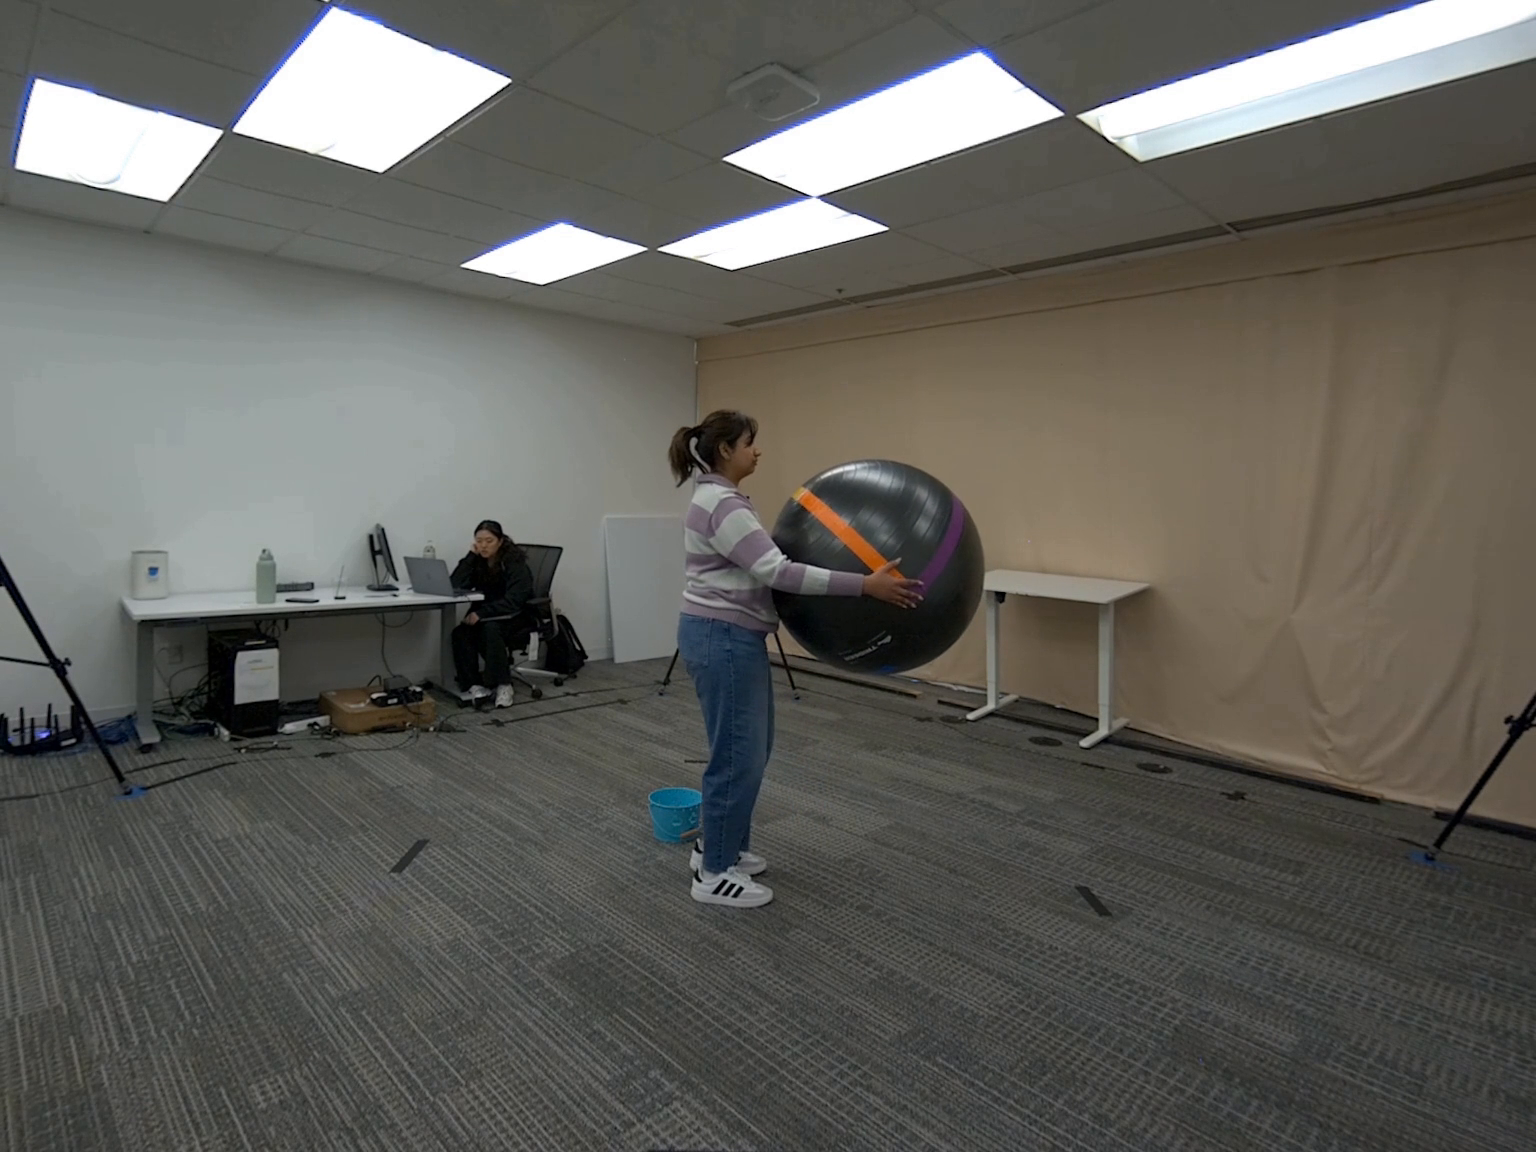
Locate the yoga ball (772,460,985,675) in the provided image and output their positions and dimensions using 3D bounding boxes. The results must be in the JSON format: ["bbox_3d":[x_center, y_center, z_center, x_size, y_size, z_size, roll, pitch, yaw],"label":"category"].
[{"bbox_3d":[0.375,-0.028,2.979,0.757,0.756,0.761,1,4,-1],"label":"yoga ball"}]
